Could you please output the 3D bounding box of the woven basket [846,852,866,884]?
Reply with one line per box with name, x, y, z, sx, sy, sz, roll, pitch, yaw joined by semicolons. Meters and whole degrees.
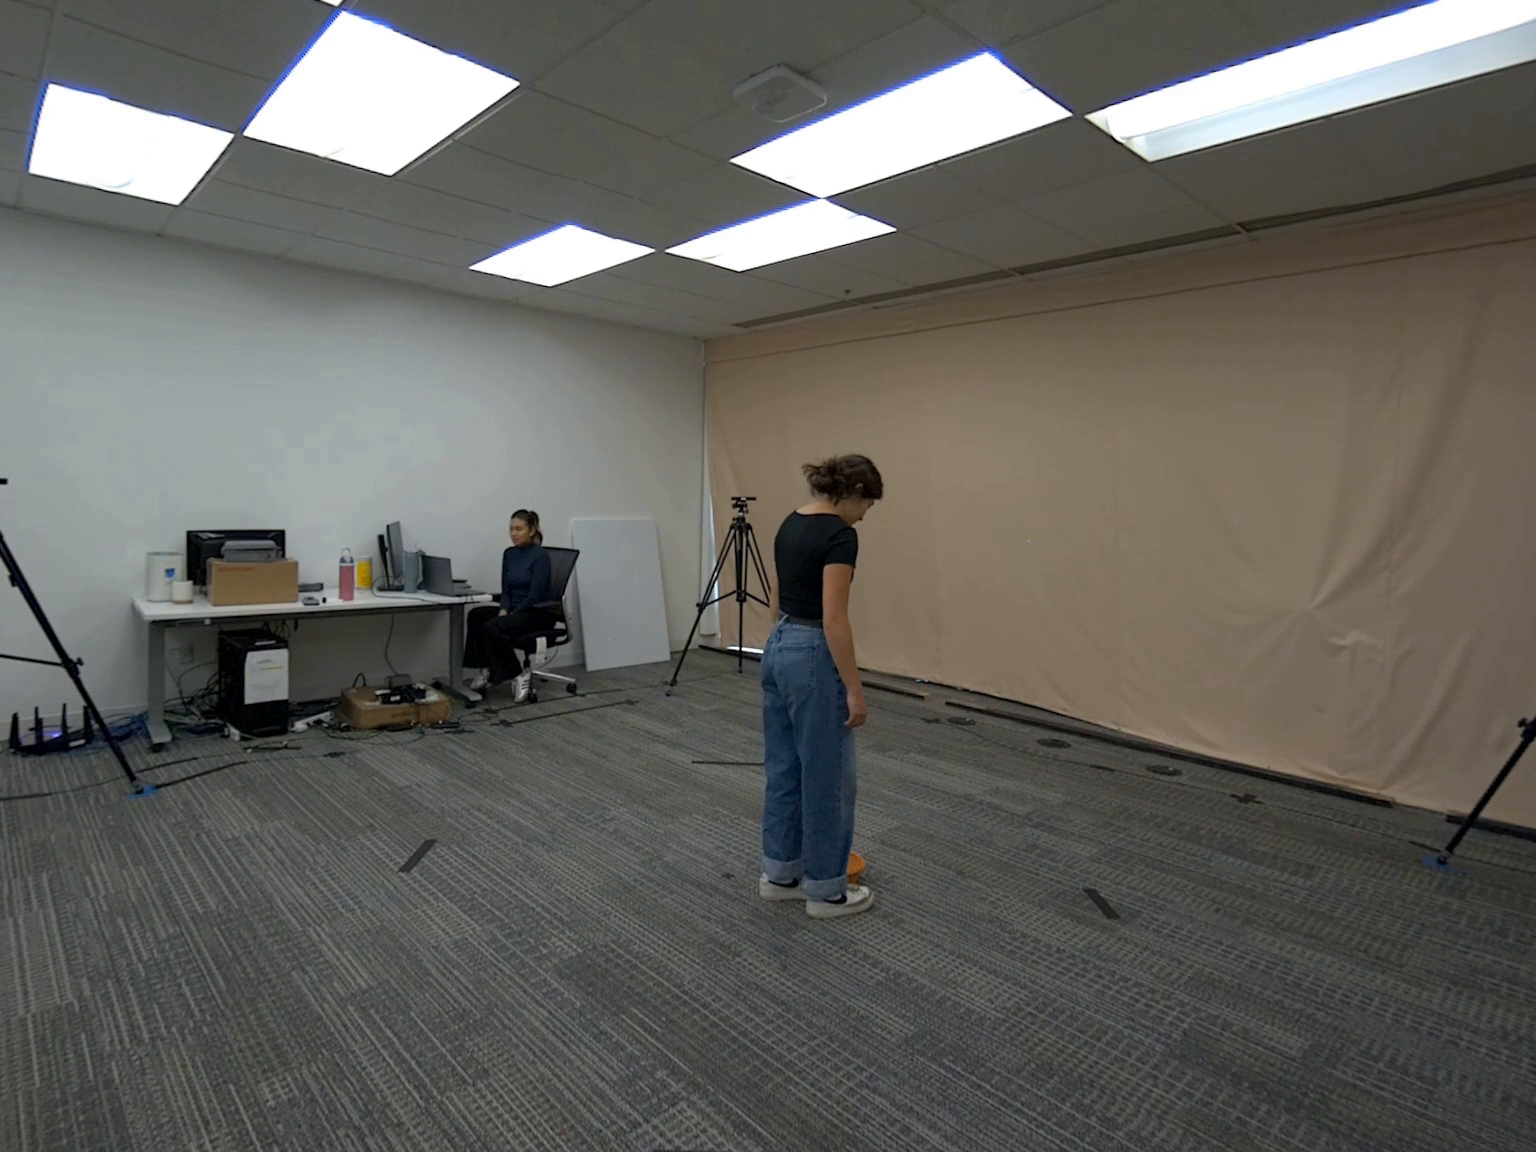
woven basket;0.182;1.077;3.117;0.357;0.073;0.248;4;5;26
